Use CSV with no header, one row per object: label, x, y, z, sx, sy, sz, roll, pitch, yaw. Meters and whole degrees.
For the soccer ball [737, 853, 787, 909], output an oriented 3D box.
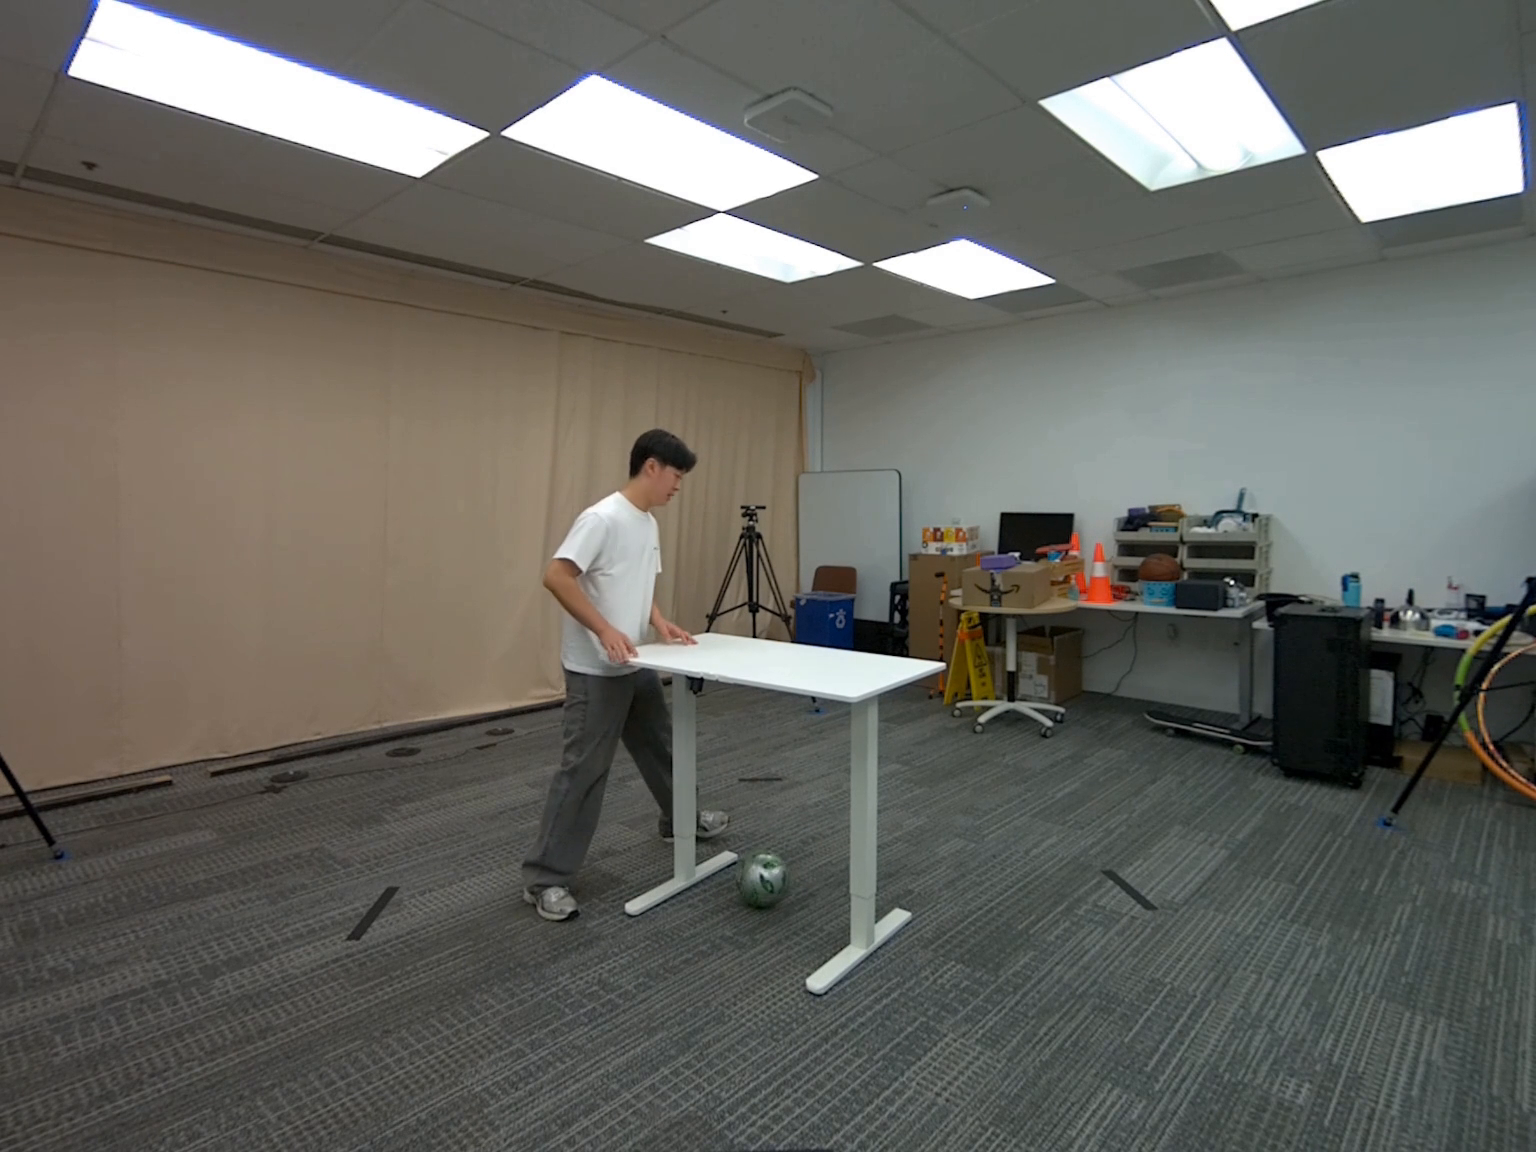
soccer ball,-0.009,1.058,2.929,0.187,0.187,0.188,0,4,-2
